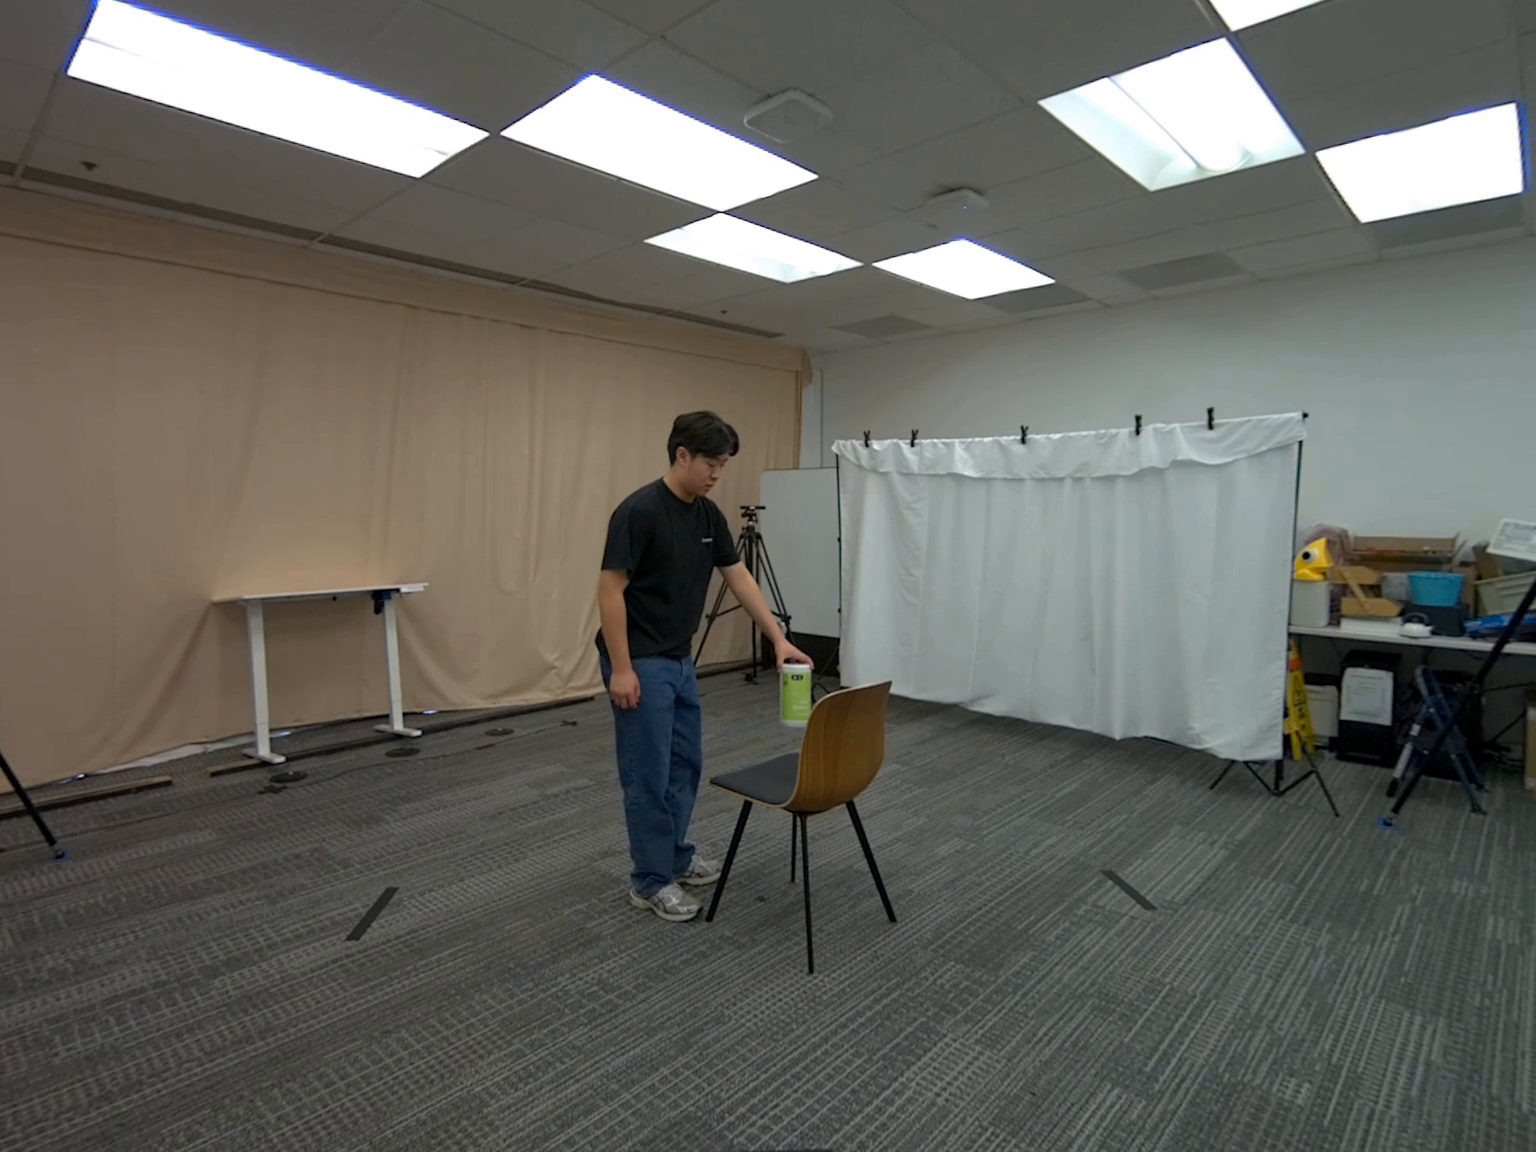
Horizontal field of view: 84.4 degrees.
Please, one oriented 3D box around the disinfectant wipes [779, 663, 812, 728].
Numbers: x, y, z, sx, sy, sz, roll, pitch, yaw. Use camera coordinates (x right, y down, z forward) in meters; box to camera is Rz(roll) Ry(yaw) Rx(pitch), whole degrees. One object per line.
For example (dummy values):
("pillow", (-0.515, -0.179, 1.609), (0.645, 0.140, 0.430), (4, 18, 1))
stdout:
("disinfectant wipes", (0.098, 0.418, 2.957), (0.118, 0.217, 0.118), (0, 0, -2))
